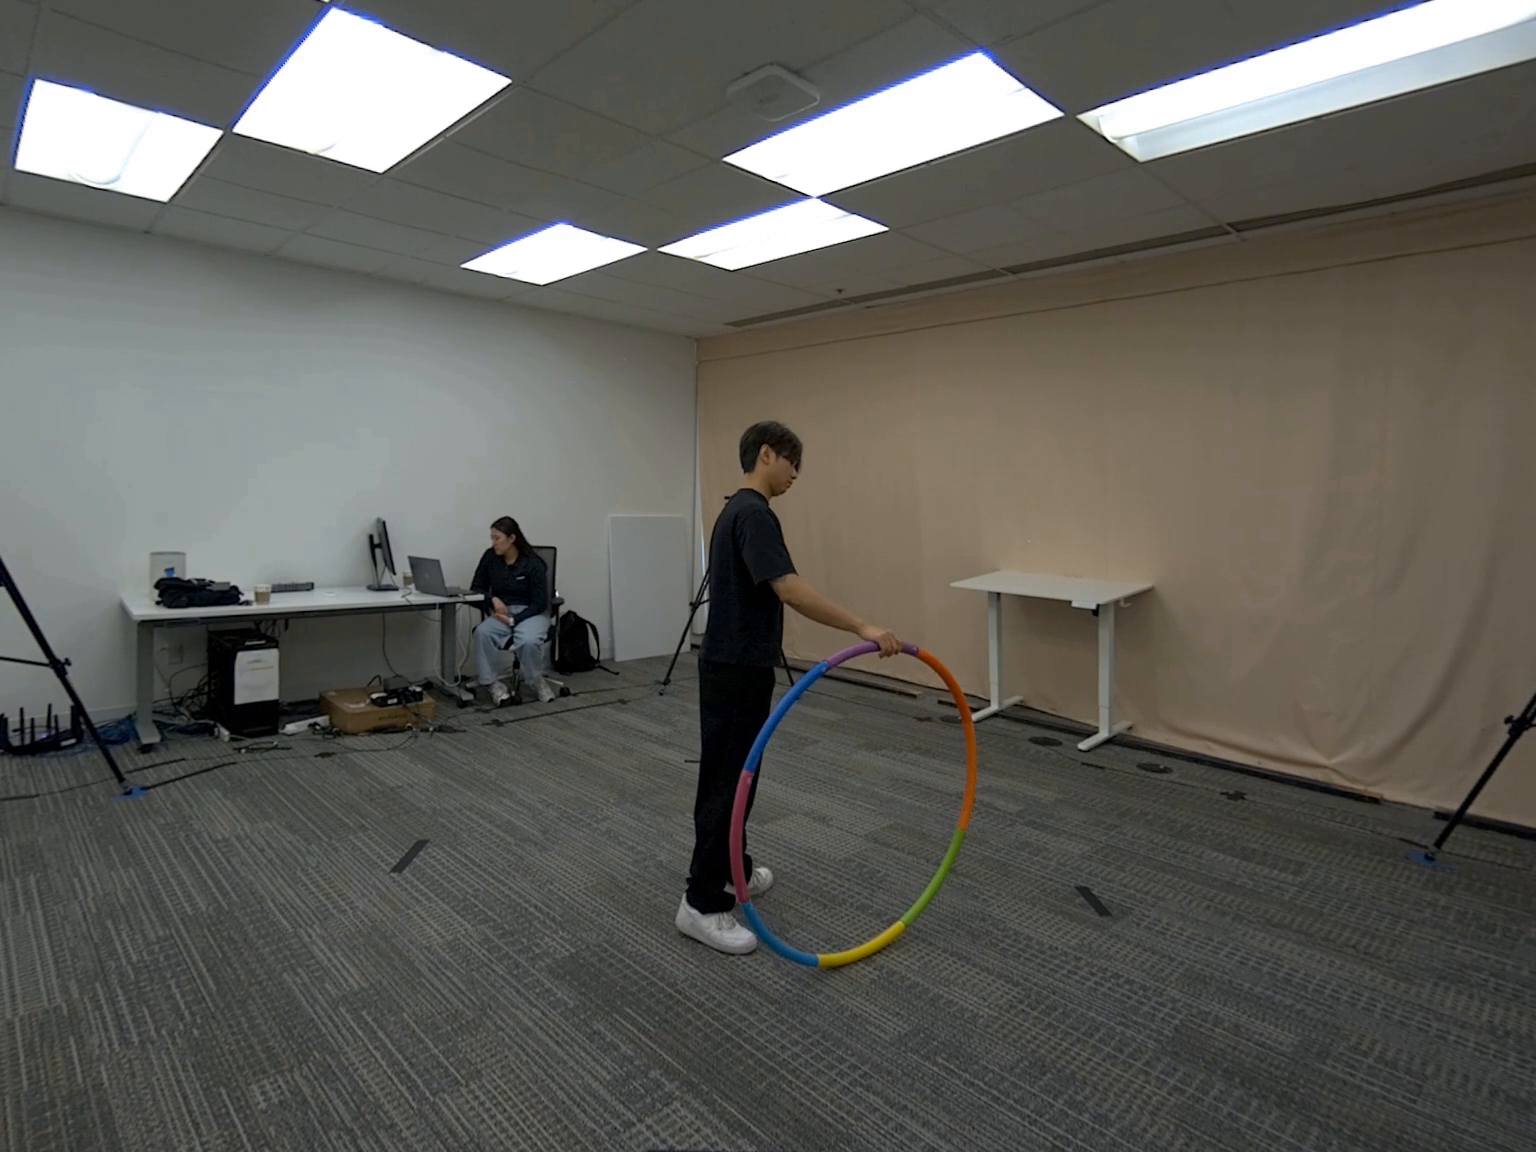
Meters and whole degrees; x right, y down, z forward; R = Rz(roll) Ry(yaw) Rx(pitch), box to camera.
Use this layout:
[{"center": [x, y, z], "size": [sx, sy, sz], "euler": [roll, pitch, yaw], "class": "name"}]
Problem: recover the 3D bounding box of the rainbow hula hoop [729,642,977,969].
[{"center": [0.284, 0.681, 2.533], "size": [0.957, 0.976, 0.036], "euler": [-2, 5, -36], "class": "rainbow hula hoop"}]
